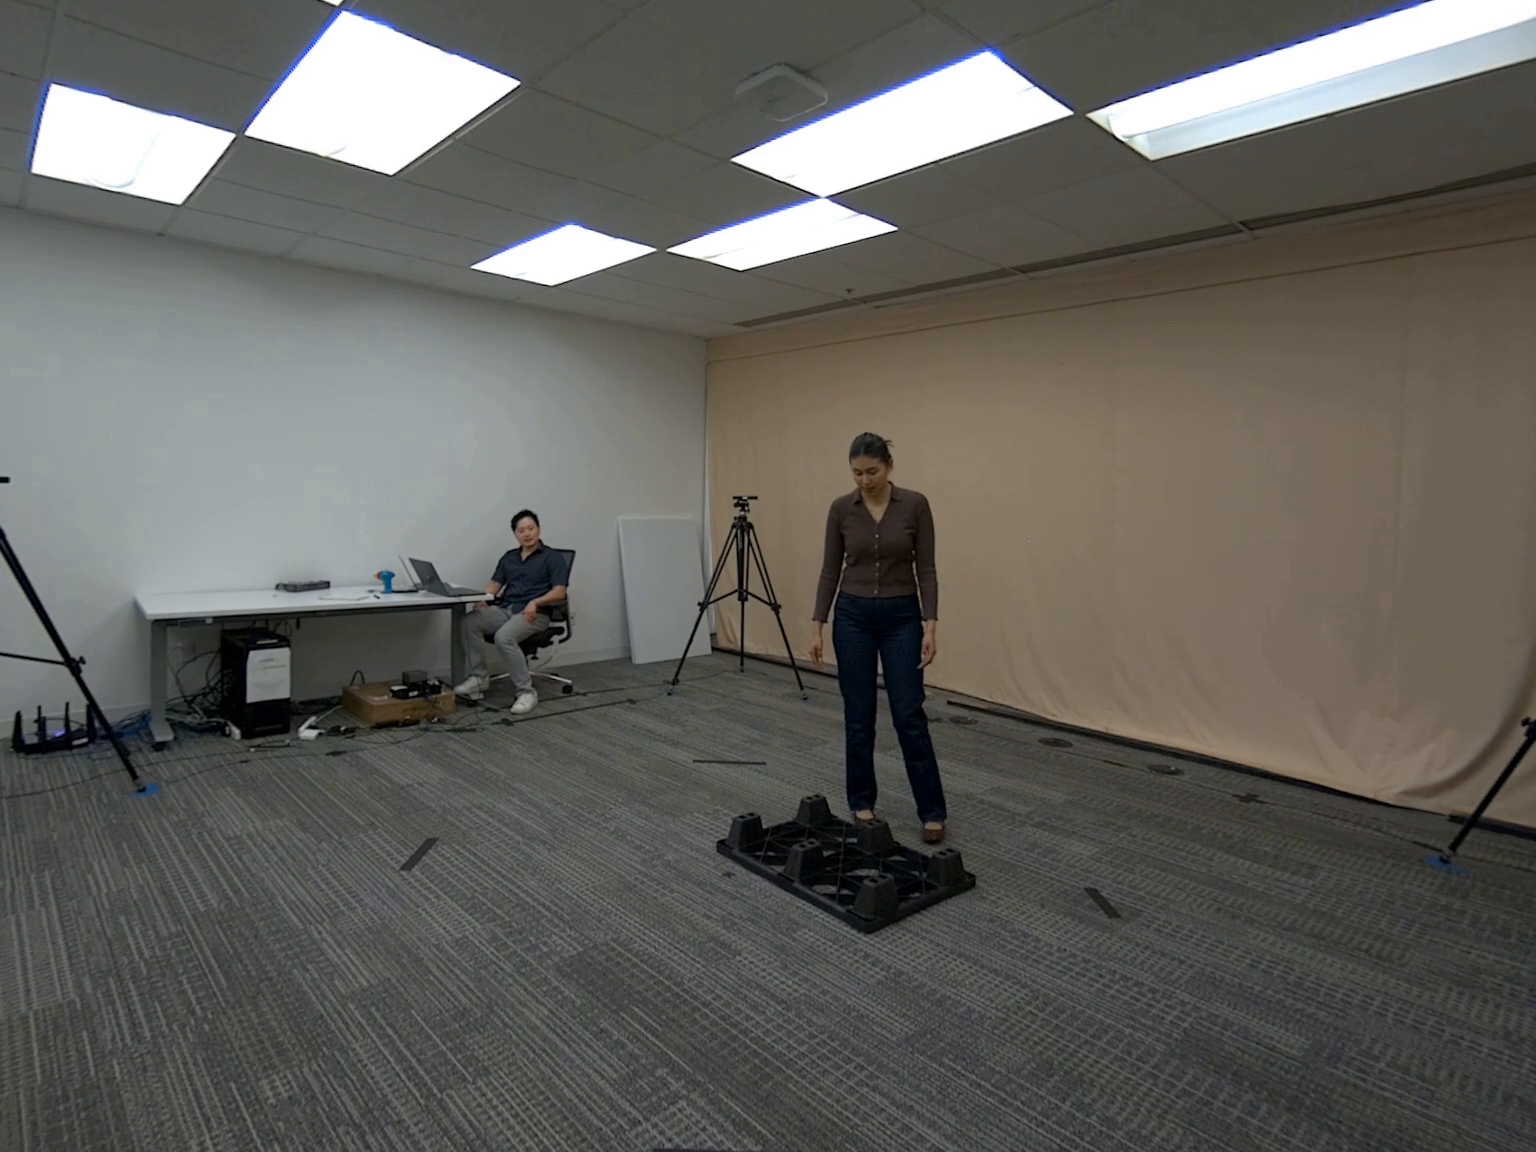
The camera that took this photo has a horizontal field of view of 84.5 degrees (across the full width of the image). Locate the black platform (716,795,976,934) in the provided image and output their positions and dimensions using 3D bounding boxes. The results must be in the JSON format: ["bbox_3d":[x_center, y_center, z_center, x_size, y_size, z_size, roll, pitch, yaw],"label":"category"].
[{"bbox_3d":[0.265,1.041,3.181,0.591,0.143,0.826,-2,6,-41],"label":"black platform"}]
